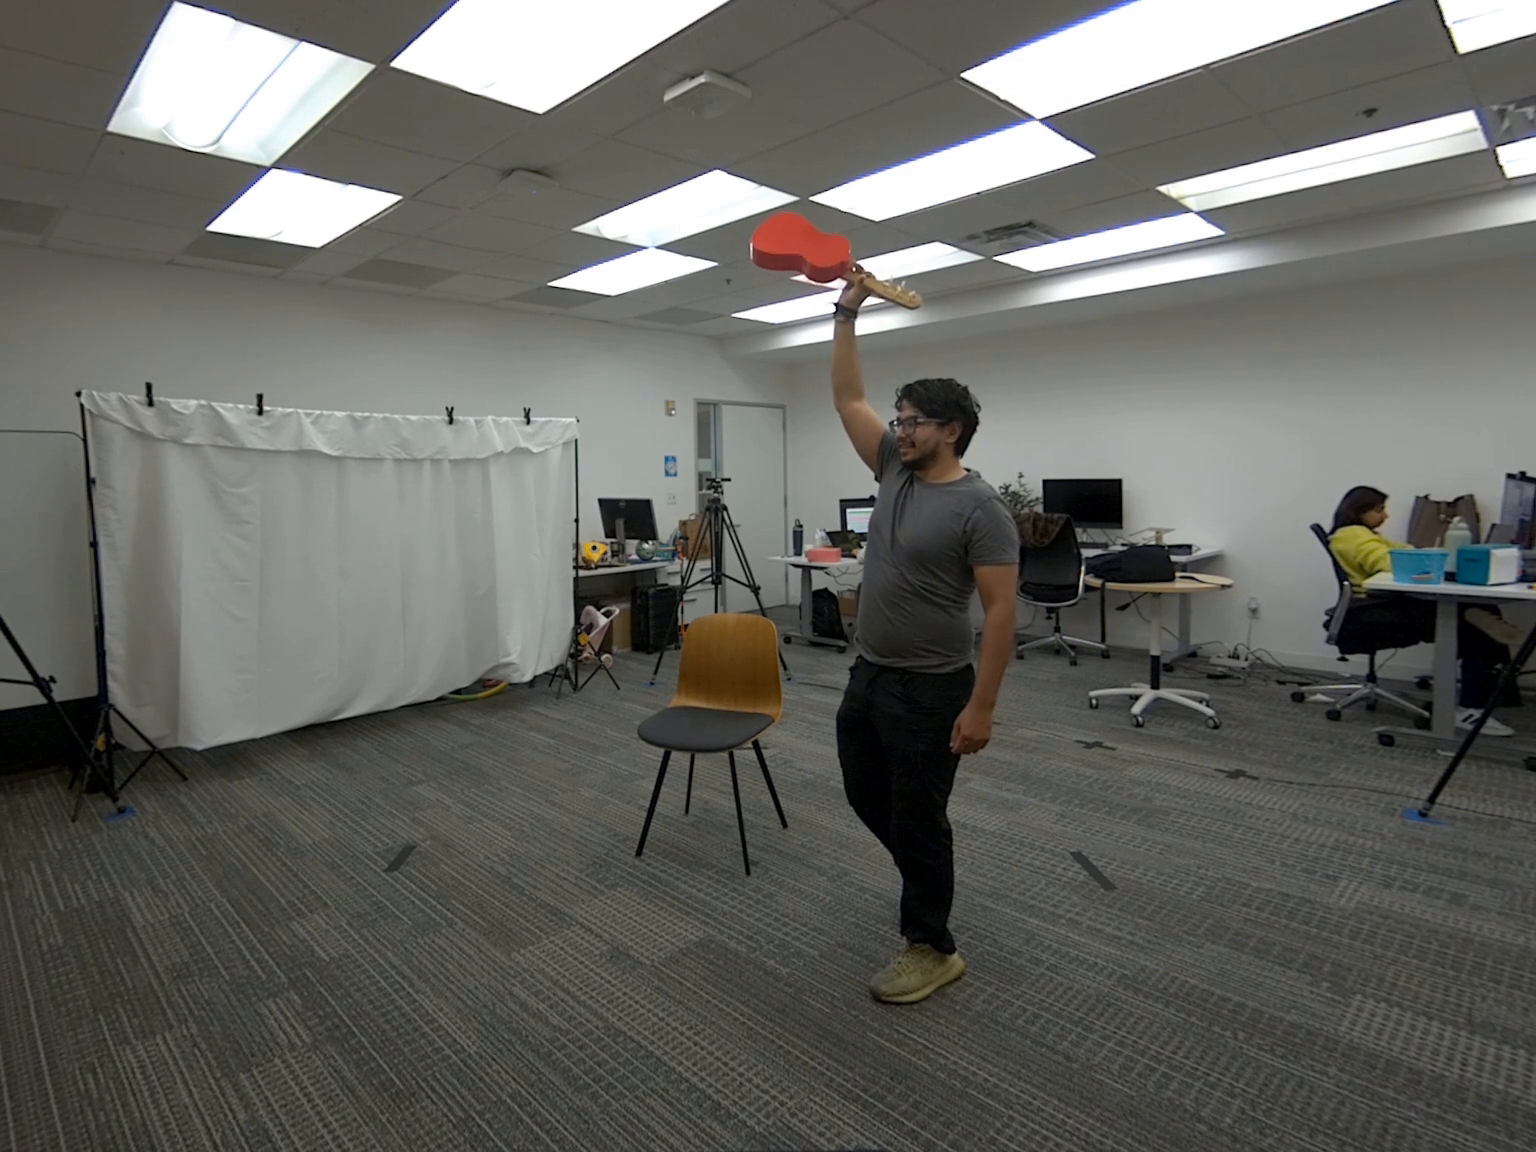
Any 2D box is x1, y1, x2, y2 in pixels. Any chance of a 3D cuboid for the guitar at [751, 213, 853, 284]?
[{"bbox_3d":[0.207,-0.870,2.348,0.505,0.195,0.069,20,-31,12],"label":"guitar"}]
